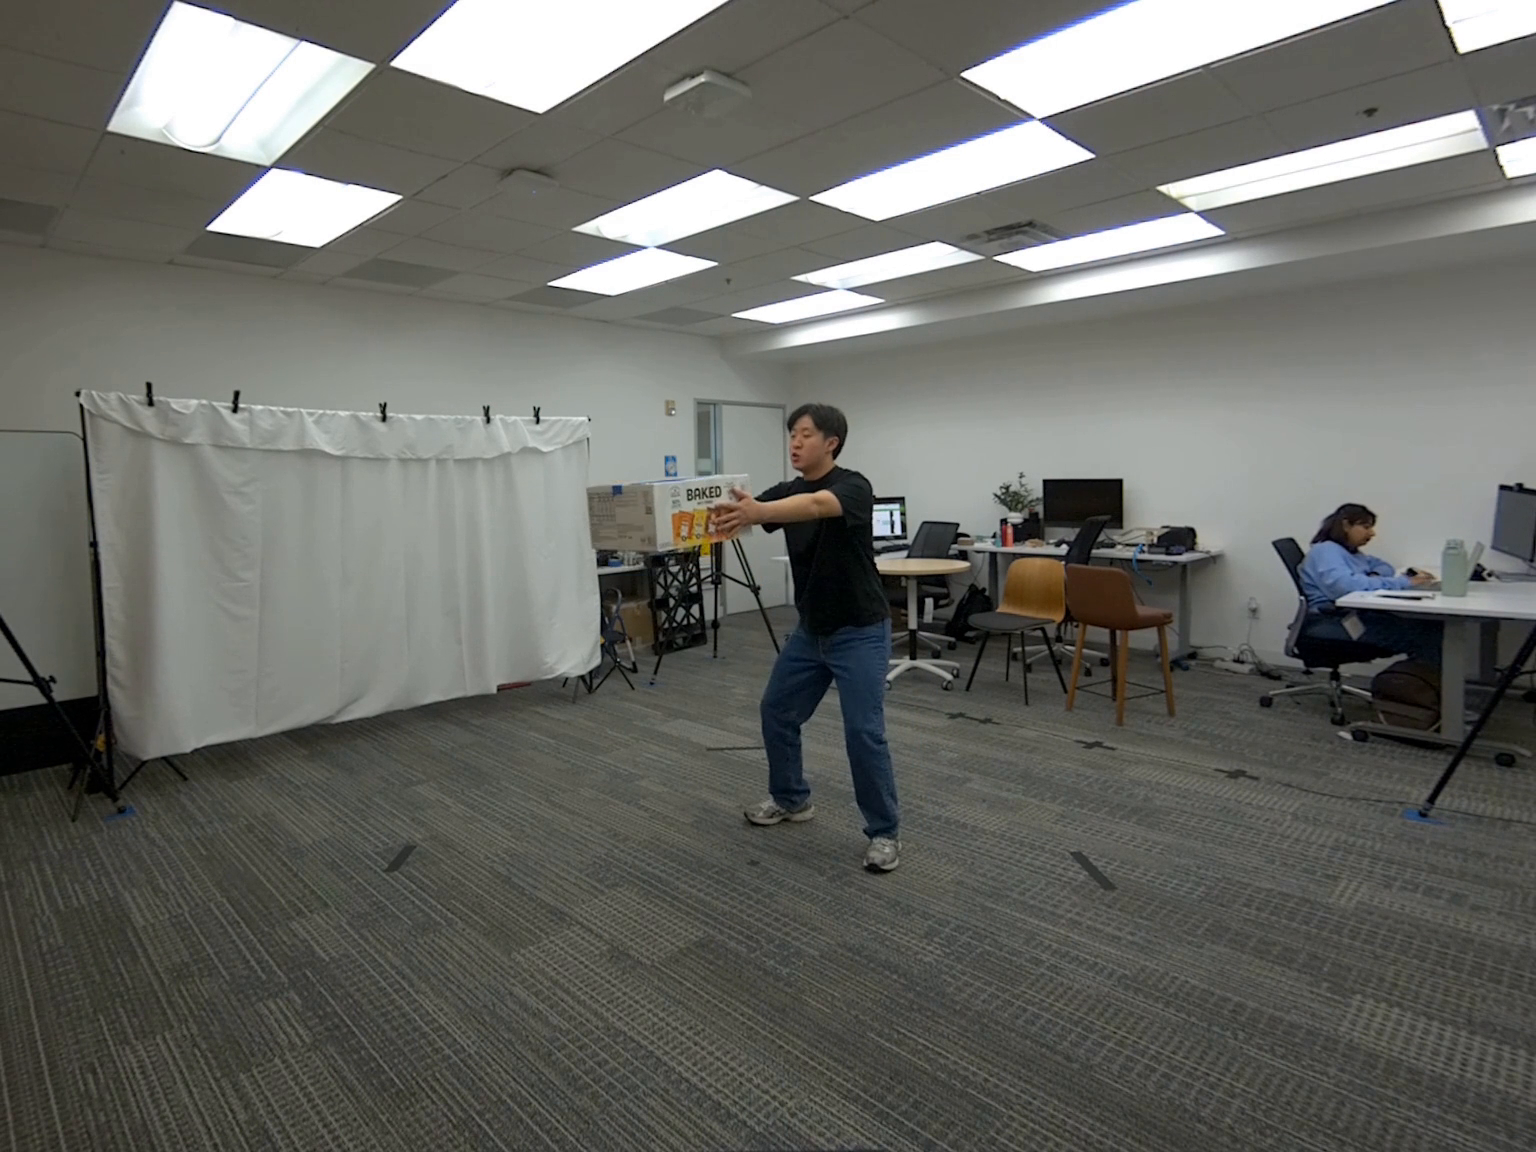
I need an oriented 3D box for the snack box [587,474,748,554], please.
[{"bbox_3d":[-0.312,-0.186,2.745,0.350,0.204,0.396,3,11,44],"label":"snack box"}]
